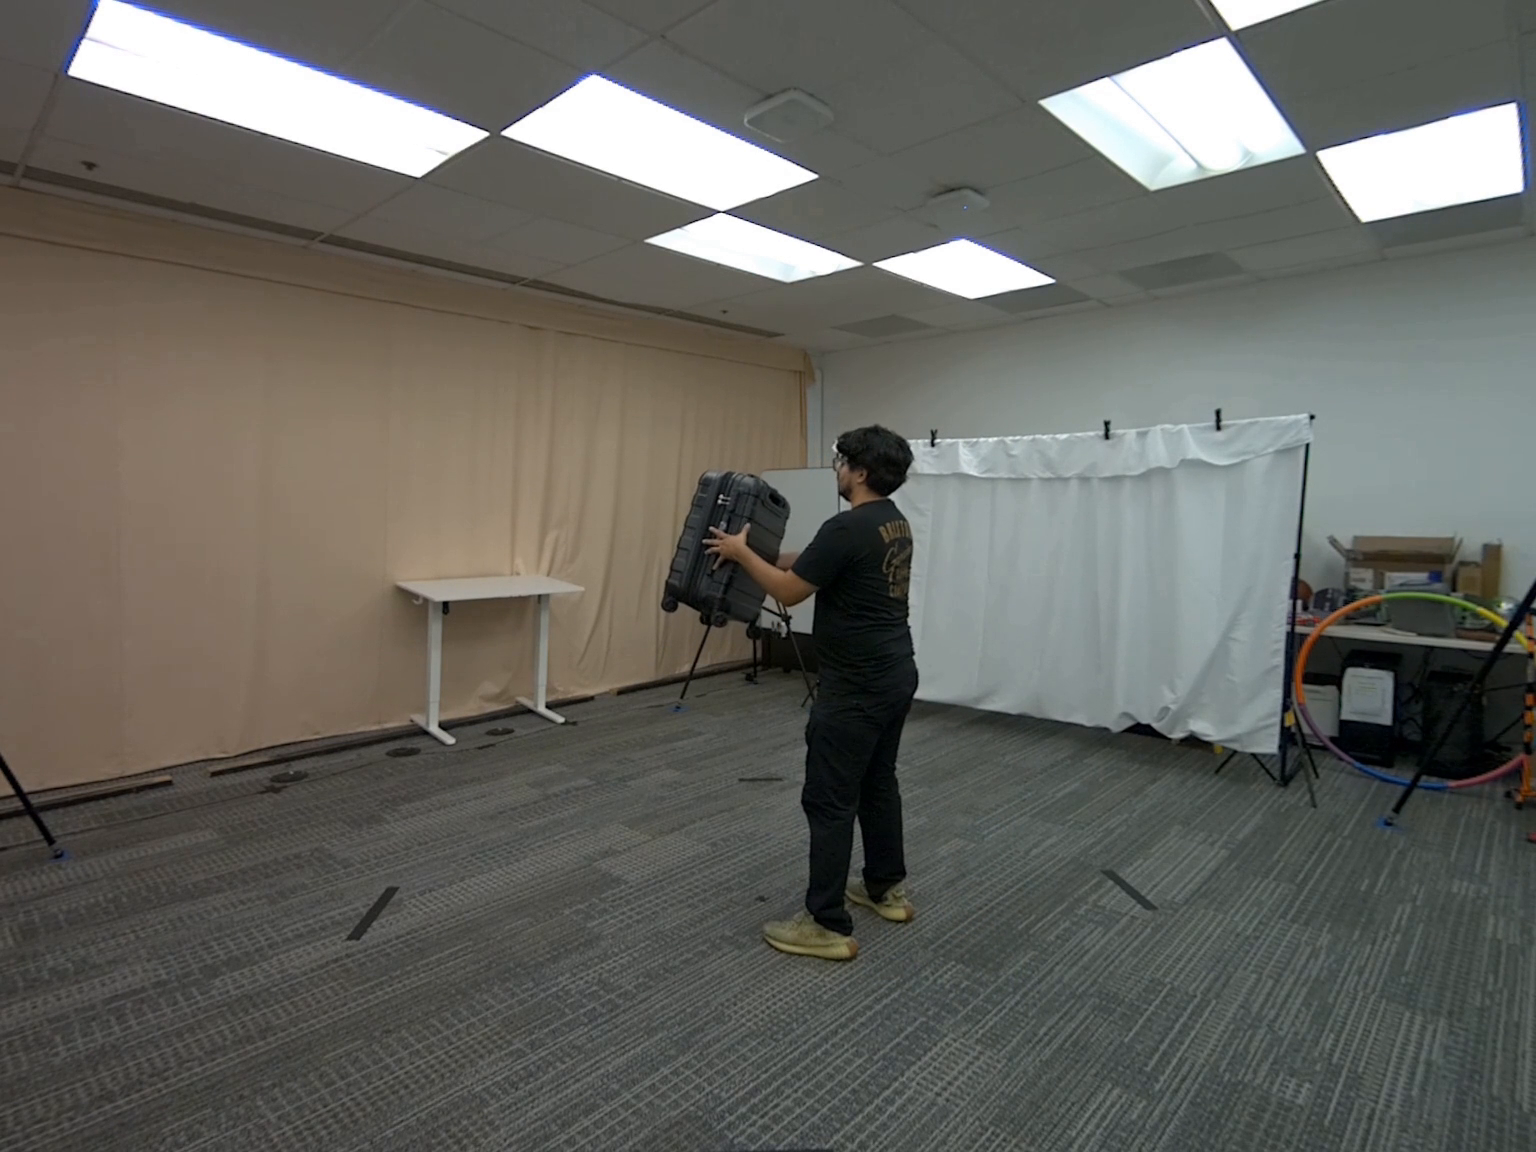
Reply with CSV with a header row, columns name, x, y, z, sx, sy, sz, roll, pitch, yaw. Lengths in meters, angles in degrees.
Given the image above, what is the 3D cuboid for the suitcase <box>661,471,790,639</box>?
name,x,y,z,sx,sy,sz,roll,pitch,yaw
suitcase,-0.142,-0.090,3.054,0.256,0.550,0.363,14,-5,28
